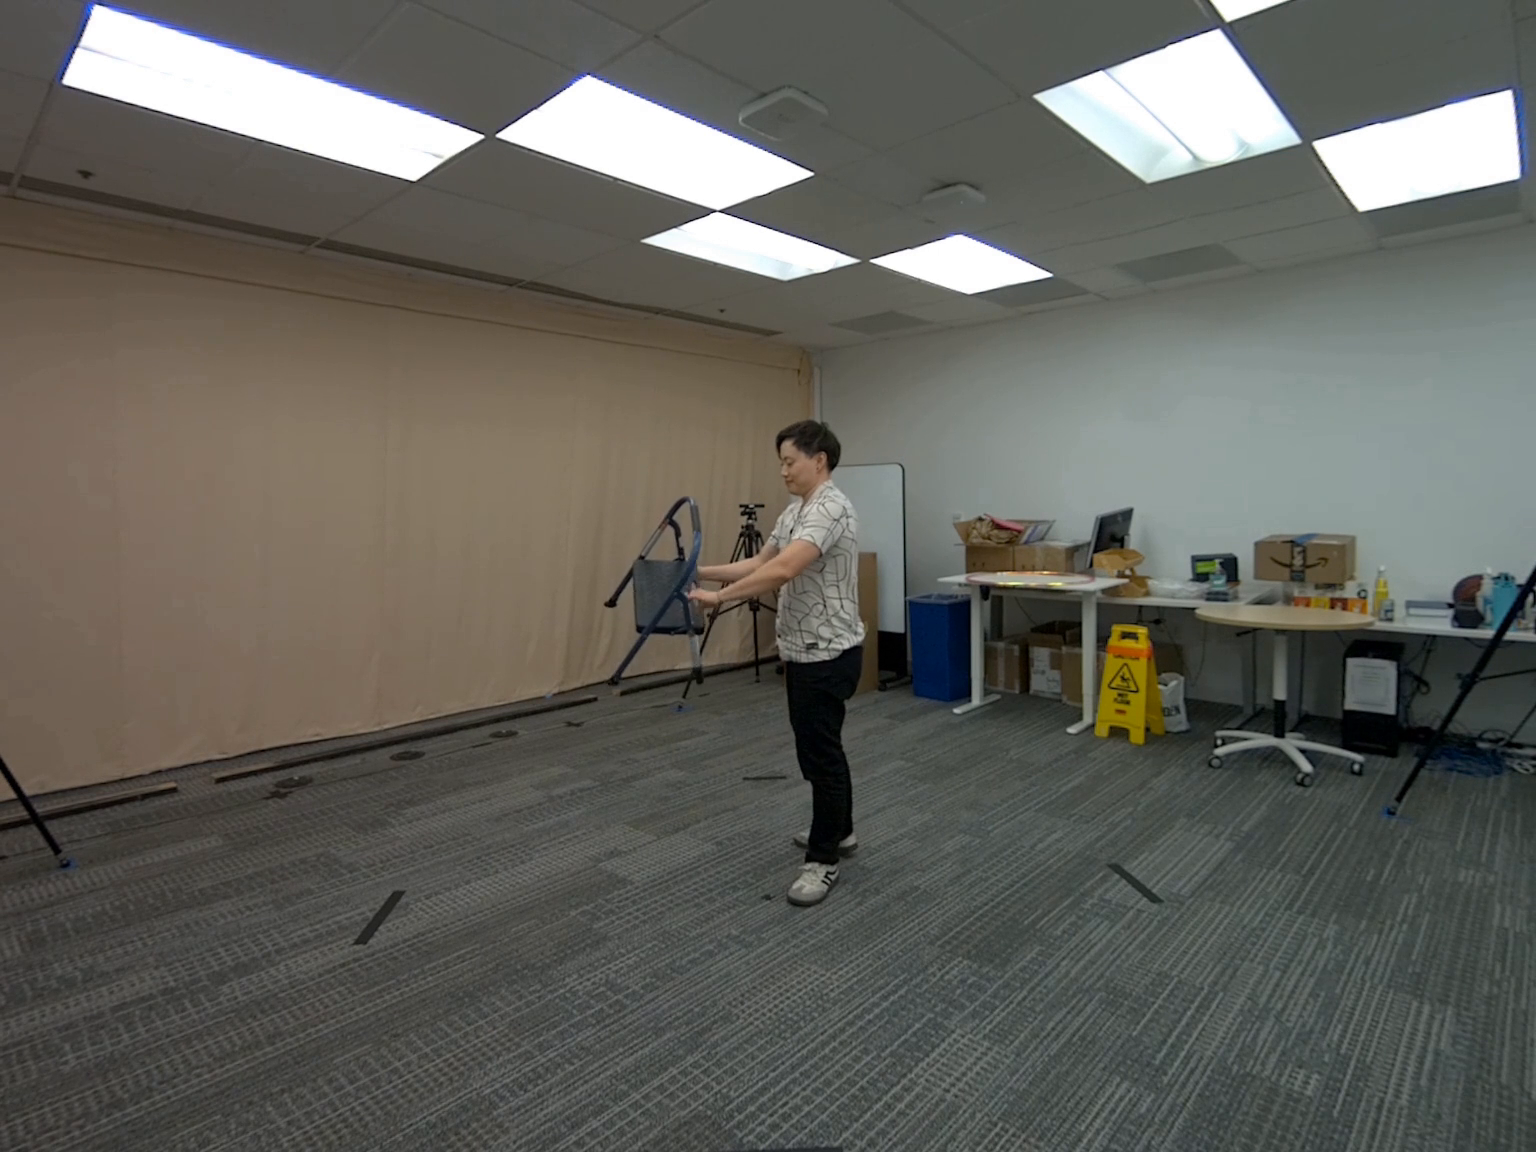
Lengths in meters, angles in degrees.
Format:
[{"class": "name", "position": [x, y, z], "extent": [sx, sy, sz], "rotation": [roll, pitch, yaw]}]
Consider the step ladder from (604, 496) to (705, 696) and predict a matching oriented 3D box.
[{"class": "step ladder", "position": [-0.365, 0.027, 2.985], "extent": [0.344, 0.599, 0.441], "rotation": [2, 40, -14]}]
